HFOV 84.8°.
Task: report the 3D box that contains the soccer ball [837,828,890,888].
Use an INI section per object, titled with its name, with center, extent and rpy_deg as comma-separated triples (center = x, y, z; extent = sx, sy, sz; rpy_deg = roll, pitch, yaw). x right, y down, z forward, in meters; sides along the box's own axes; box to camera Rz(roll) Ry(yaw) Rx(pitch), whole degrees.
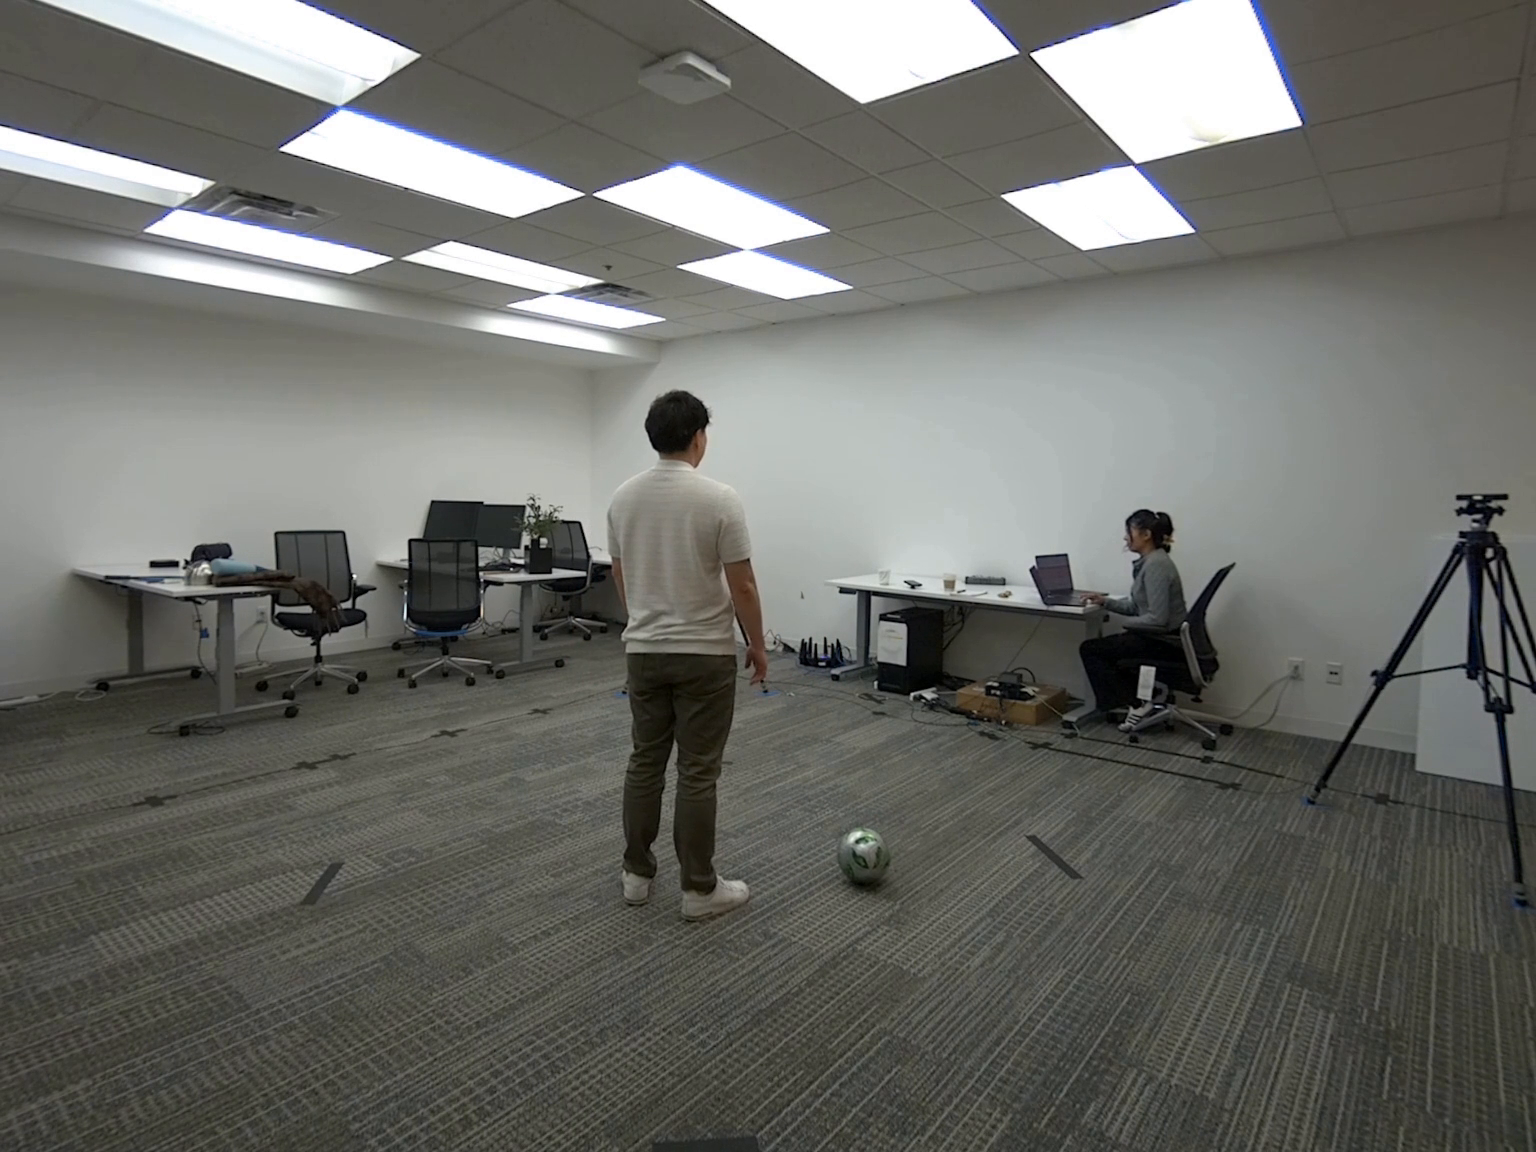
[soccer ball]
center = 0.335, 0.991, 3.027
extent = 0.187, 0.187, 0.188
rpy_deg = 1, 4, -2
